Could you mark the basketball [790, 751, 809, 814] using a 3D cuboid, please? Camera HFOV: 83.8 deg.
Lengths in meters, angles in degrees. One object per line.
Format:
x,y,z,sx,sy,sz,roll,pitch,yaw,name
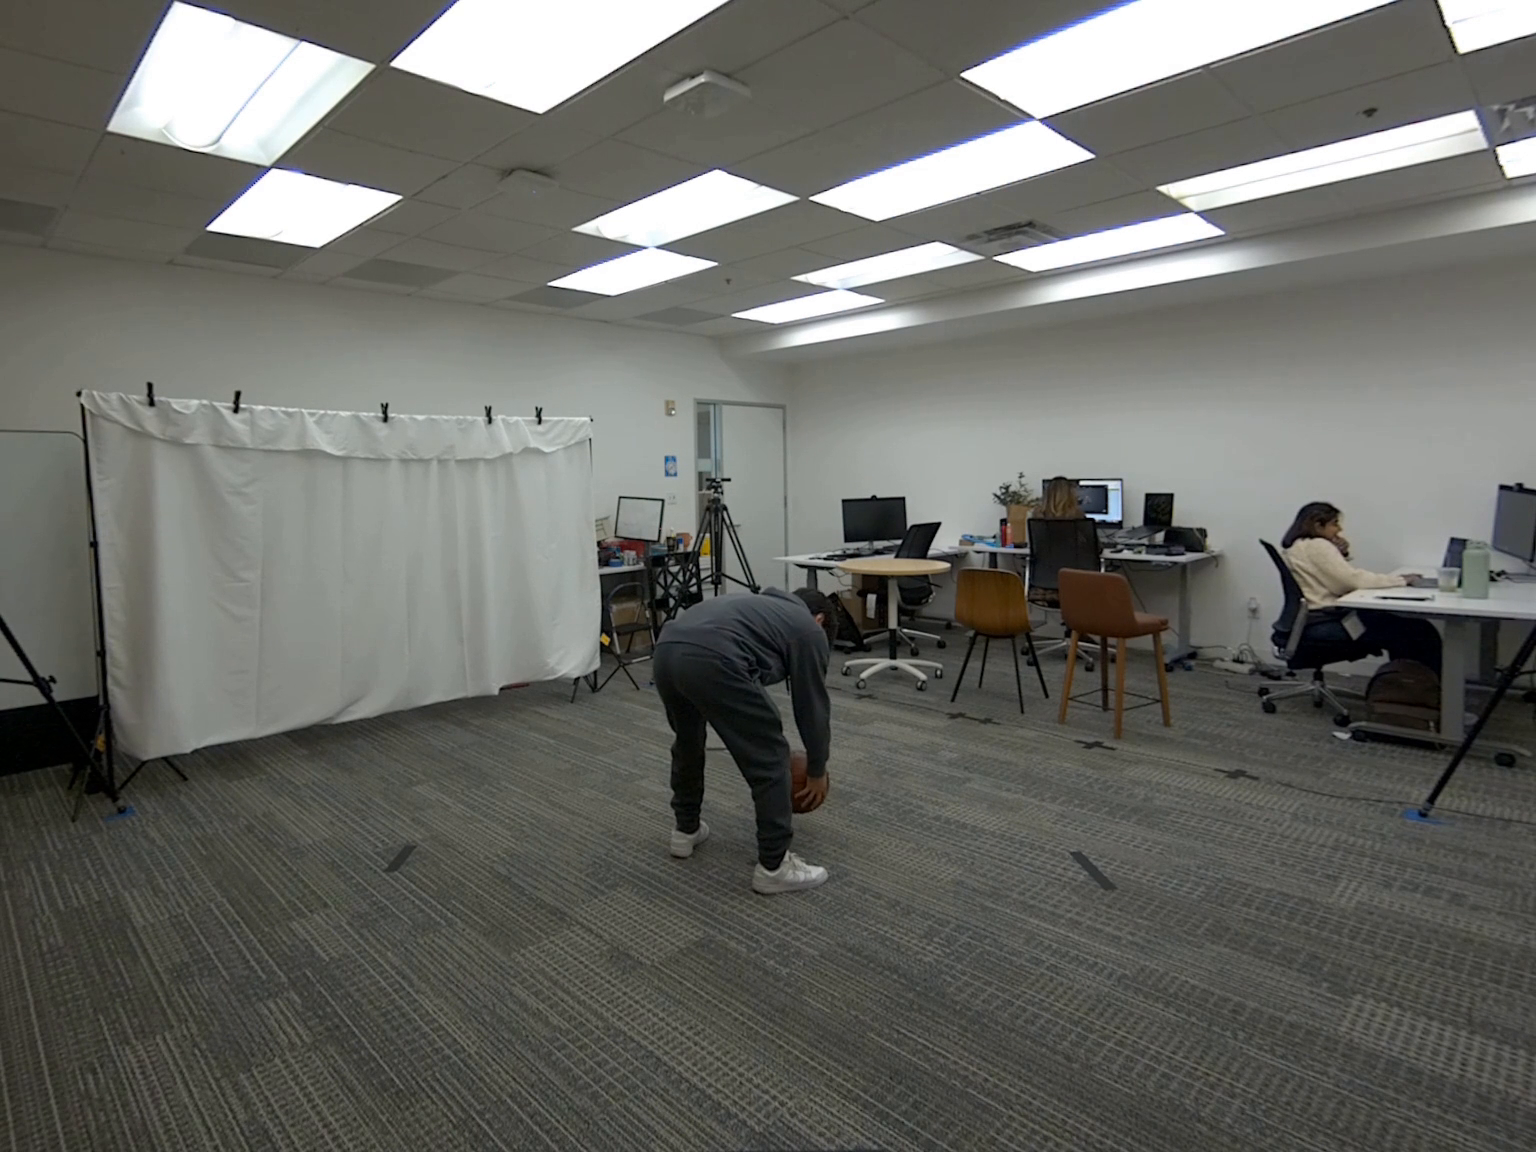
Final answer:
0.128,0.801,3.348,0.236,0.235,0.237,-1,5,-2,basketball
